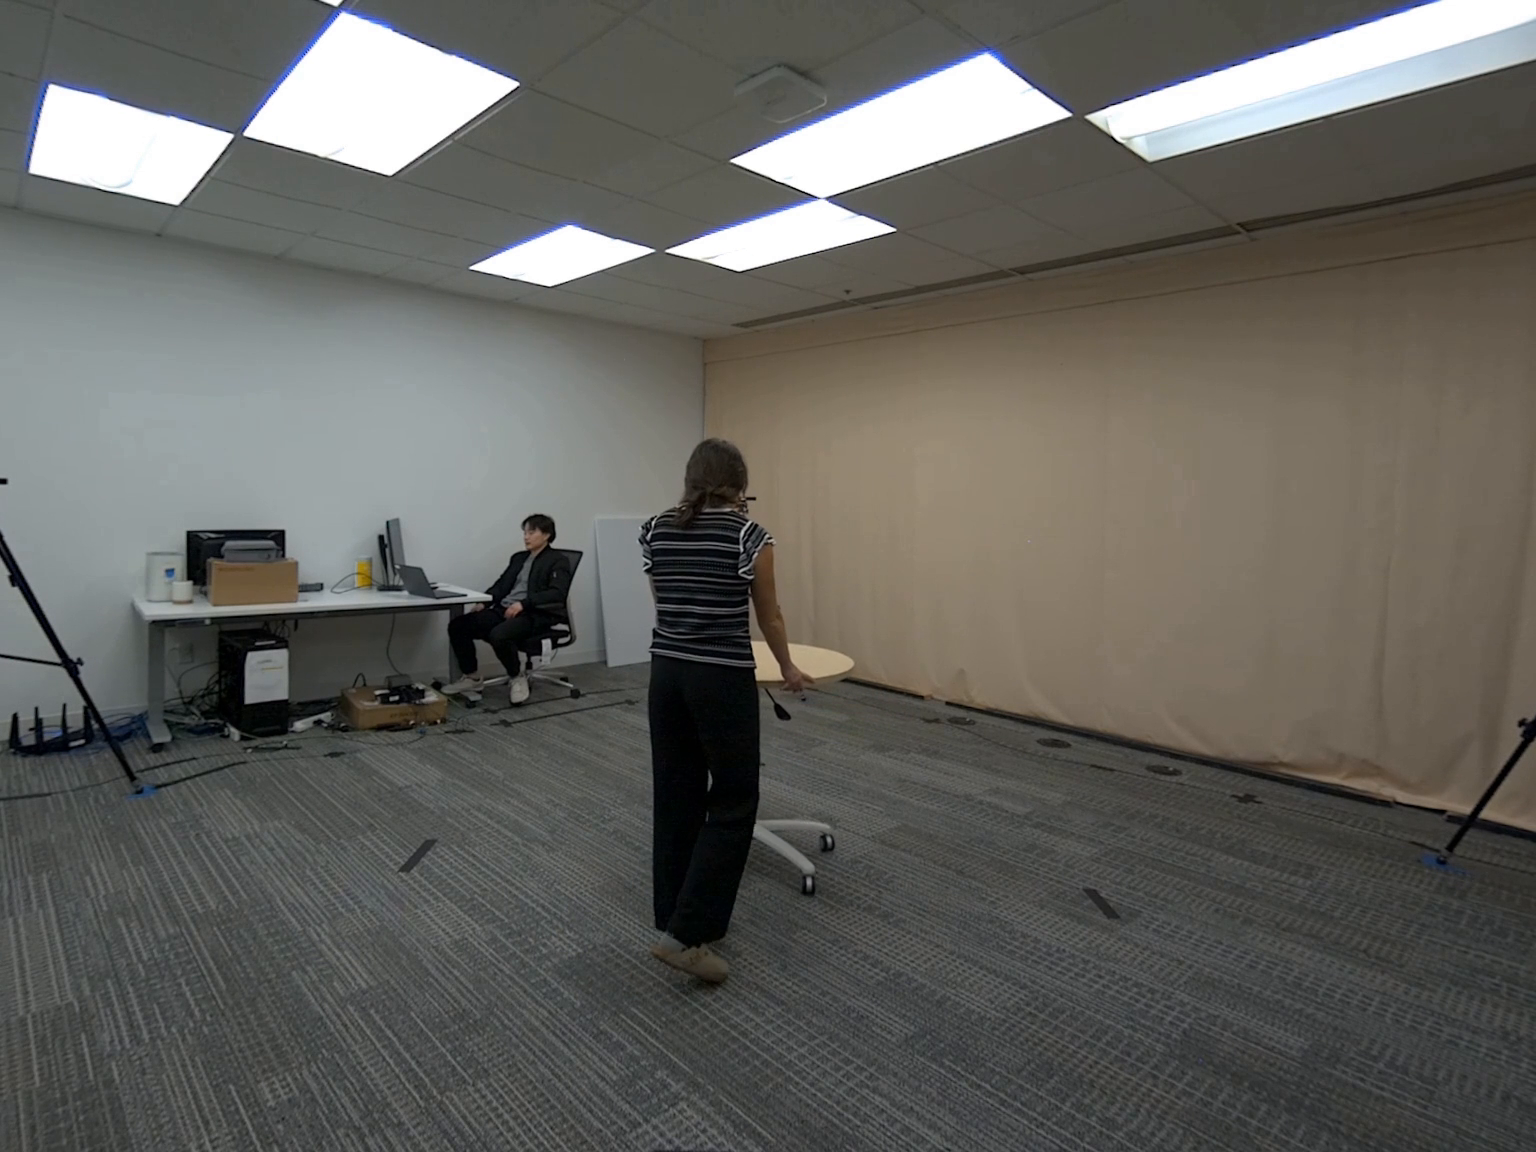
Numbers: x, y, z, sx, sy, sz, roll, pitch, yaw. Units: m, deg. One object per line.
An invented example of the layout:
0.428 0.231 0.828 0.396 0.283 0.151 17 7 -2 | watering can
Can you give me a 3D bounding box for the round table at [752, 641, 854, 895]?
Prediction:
-0.071 0.712 3.238 0.763 0.792 0.767 1 4 -1 | round table
